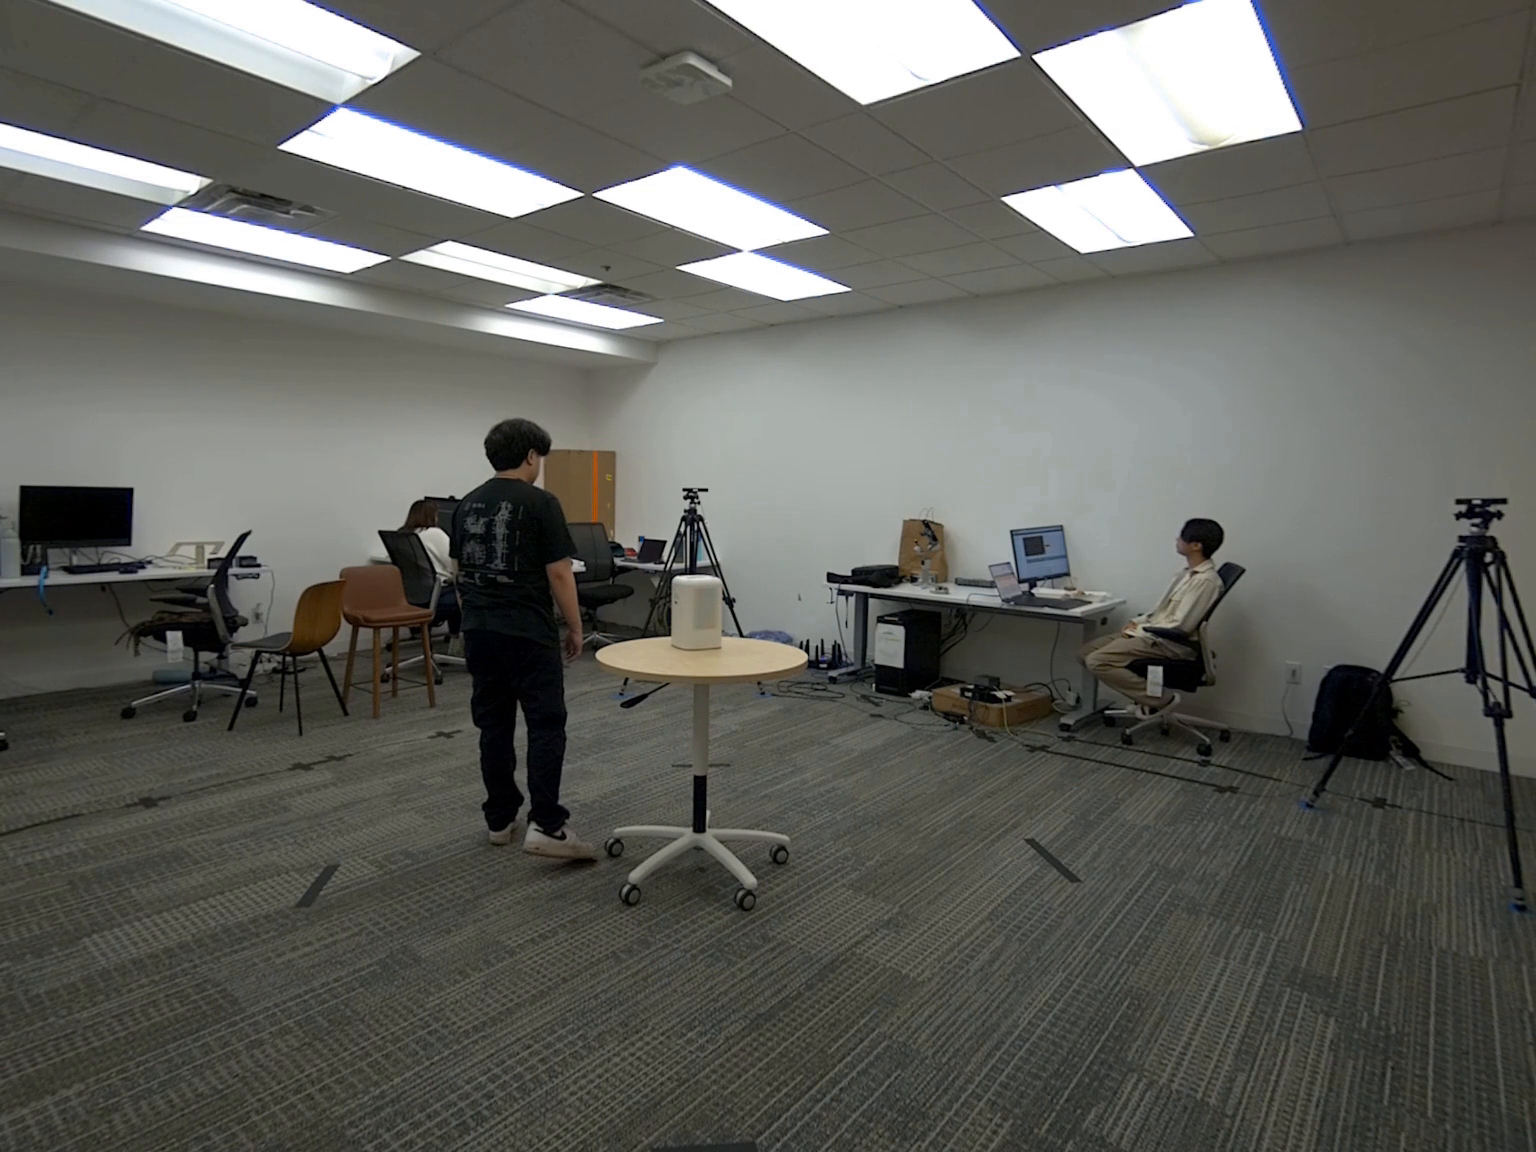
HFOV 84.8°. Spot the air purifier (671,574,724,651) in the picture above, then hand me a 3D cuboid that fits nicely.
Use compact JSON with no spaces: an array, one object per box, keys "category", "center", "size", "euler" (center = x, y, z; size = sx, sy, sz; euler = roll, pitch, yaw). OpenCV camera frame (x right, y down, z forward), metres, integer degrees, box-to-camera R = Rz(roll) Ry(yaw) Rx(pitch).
[{"category":"air purifier","center":[-0.281,0.131,3.232],"size":[0.167,0.265,0.176],"euler":[-1,3,-27]}]
